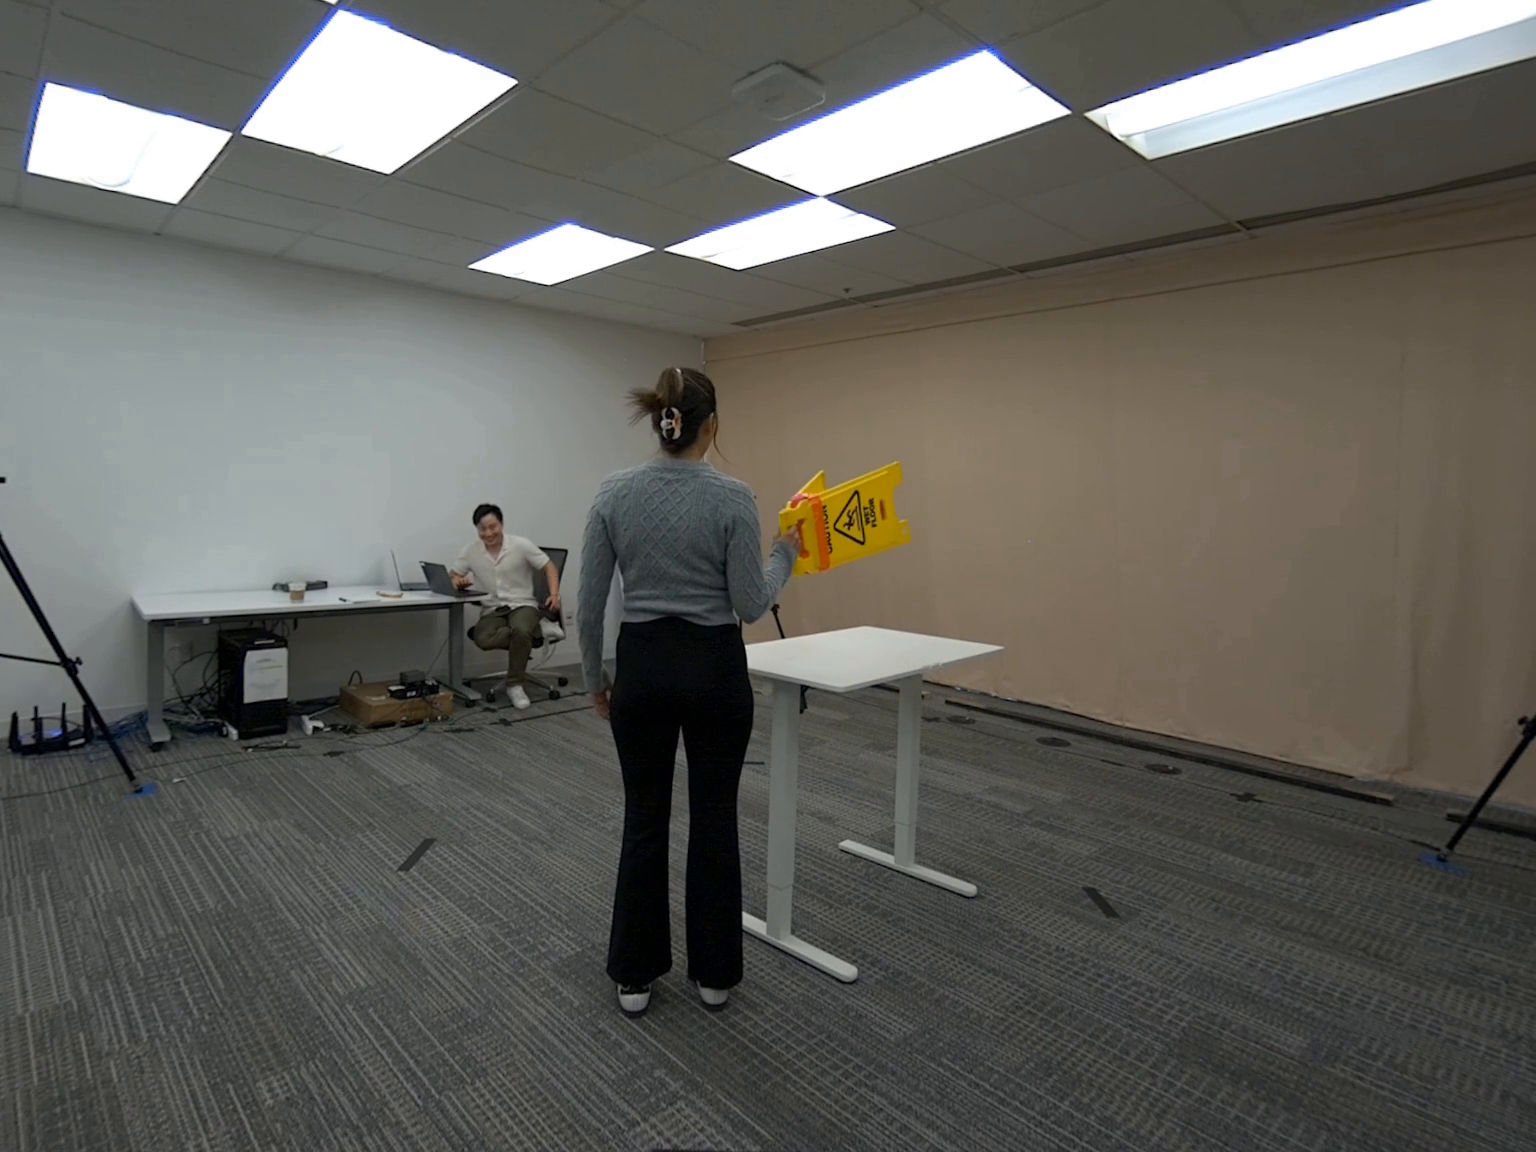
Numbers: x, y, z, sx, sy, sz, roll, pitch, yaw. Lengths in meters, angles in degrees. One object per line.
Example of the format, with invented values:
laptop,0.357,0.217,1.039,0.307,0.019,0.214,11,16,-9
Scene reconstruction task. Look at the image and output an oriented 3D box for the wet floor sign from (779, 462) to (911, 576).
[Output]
wet floor sign,0.197,-0.164,2.701,0.295,0.280,0.639,-3,13,29
